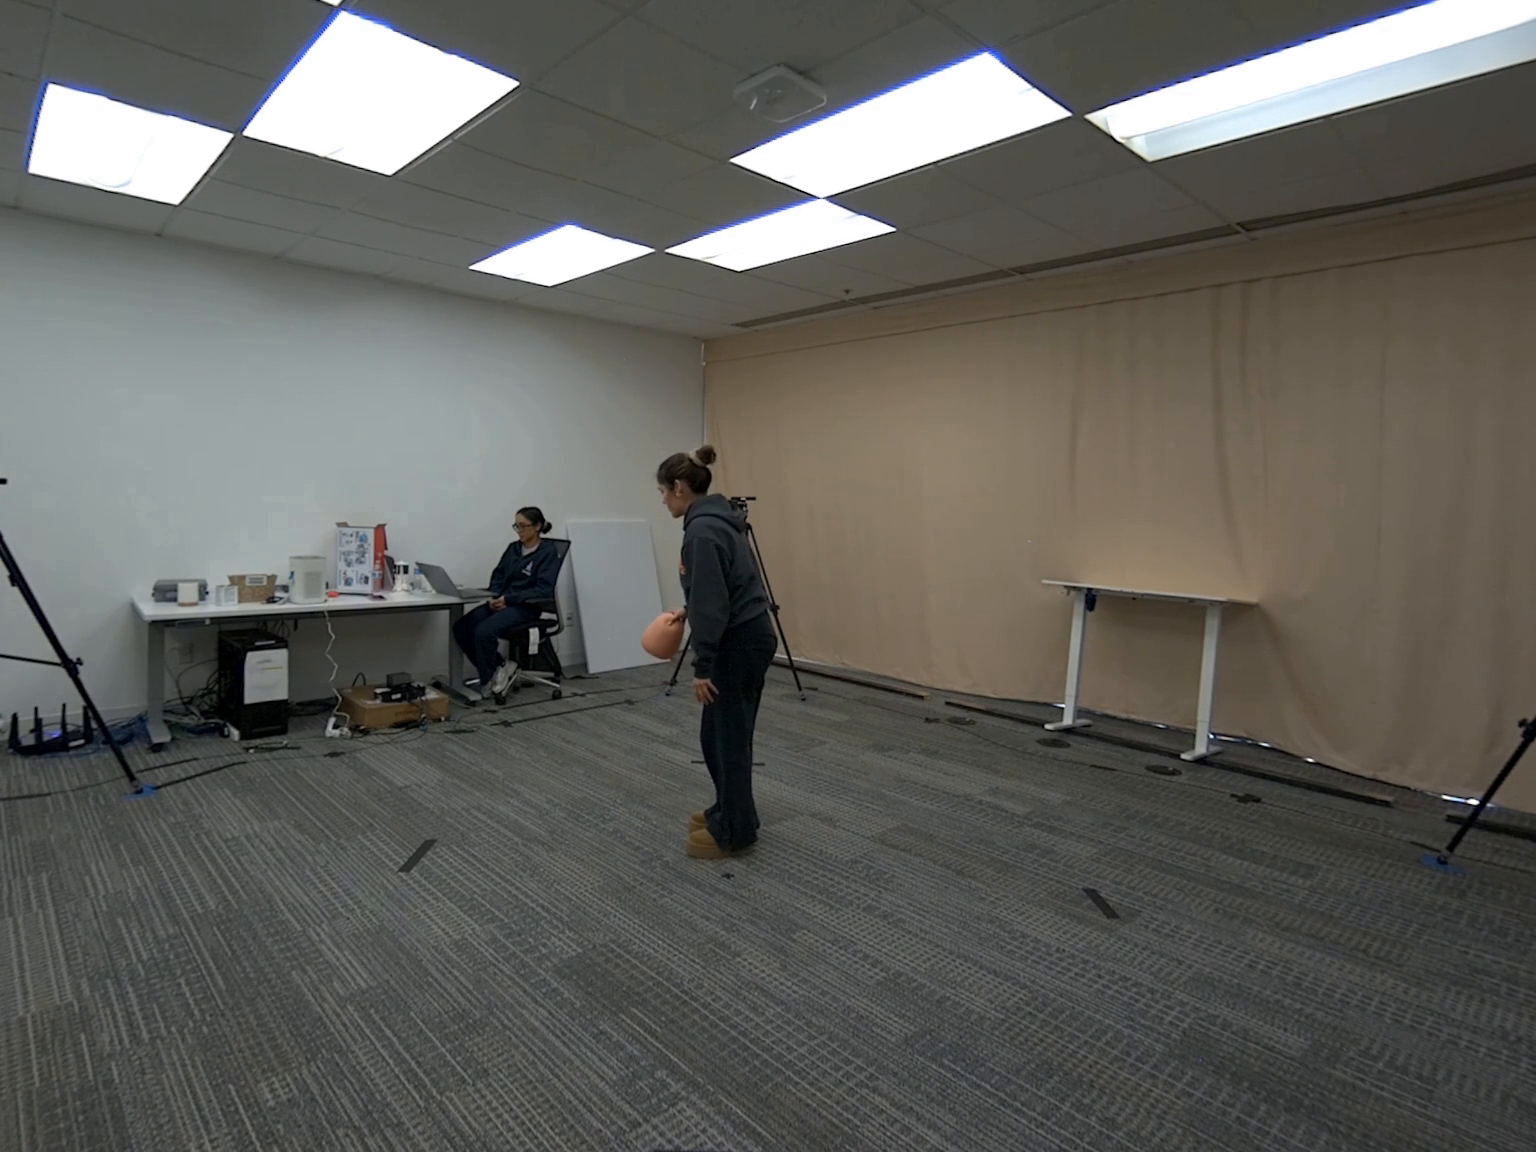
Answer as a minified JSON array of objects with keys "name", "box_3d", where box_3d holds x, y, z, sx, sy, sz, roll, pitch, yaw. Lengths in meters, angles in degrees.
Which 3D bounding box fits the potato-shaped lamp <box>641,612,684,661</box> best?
[{"name":"potato-shaped lamp","box_3d":[-0.455,0.260,3.632,0.164,0.197,0.173,26,12,-6]}]
